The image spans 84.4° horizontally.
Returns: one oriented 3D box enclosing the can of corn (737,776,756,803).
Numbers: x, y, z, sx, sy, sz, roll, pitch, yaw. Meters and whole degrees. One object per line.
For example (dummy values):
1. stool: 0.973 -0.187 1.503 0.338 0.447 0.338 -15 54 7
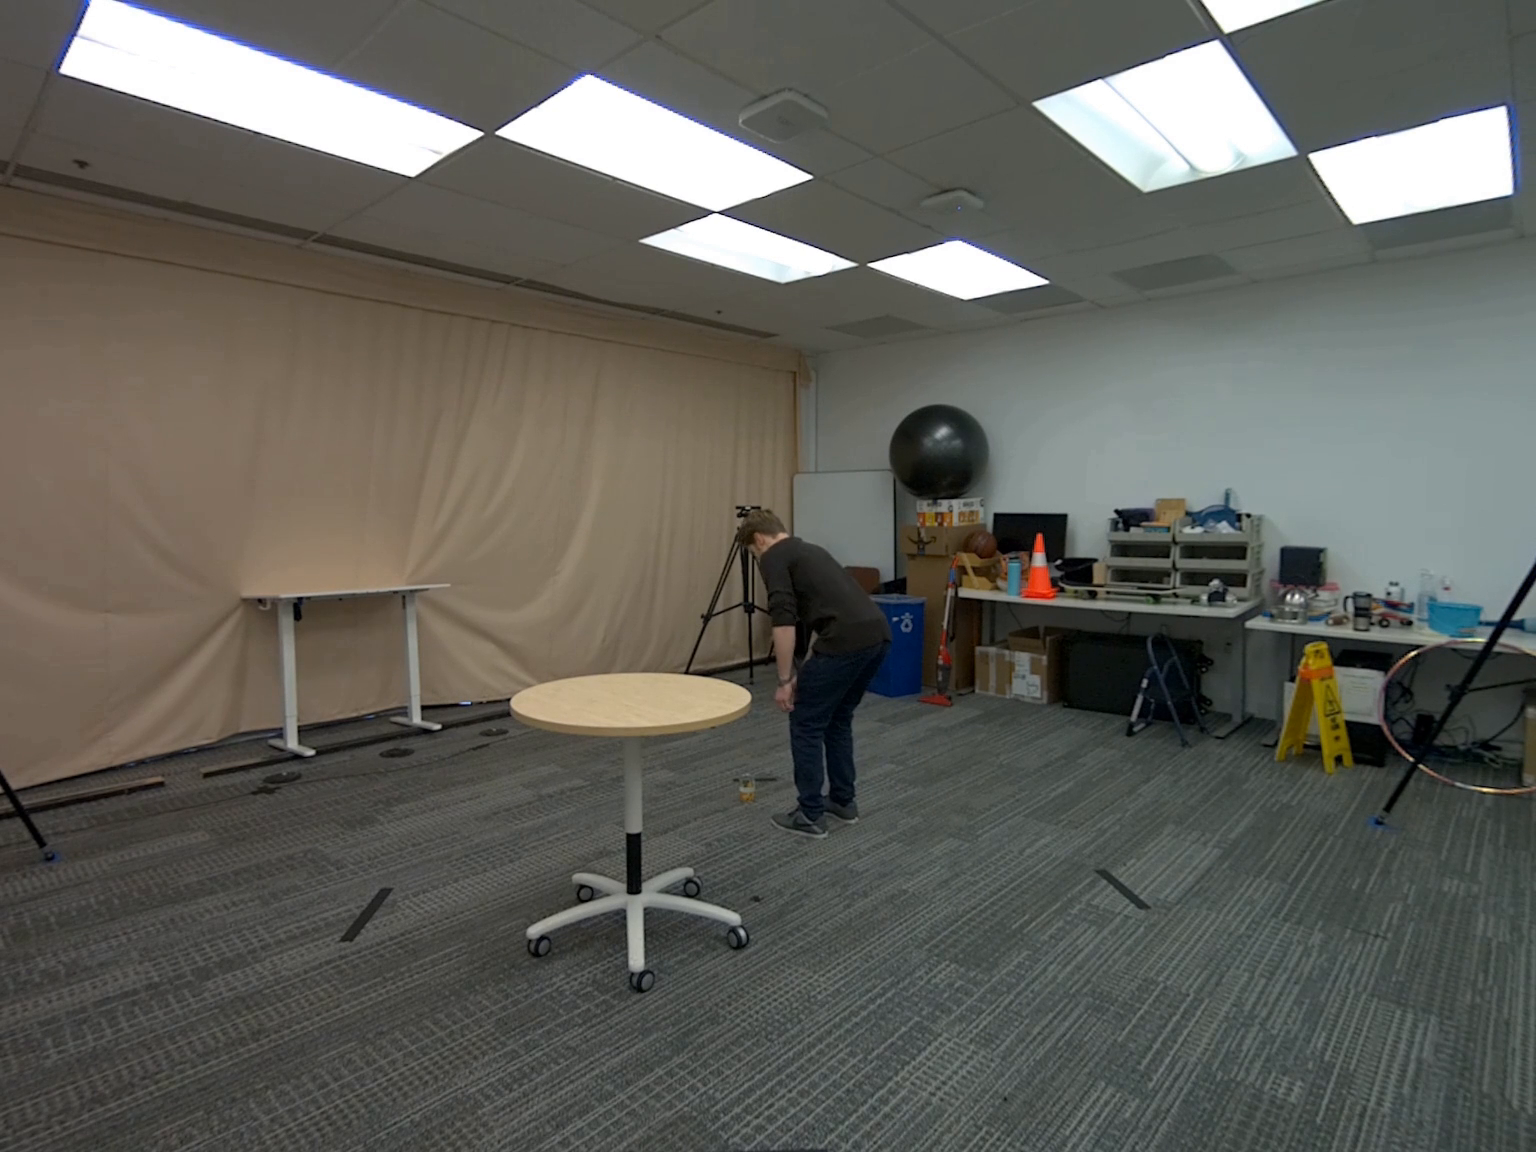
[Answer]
1. can of corn: -0.096 1.007 4.007 0.074 0.111 0.074 0 -3 -2
